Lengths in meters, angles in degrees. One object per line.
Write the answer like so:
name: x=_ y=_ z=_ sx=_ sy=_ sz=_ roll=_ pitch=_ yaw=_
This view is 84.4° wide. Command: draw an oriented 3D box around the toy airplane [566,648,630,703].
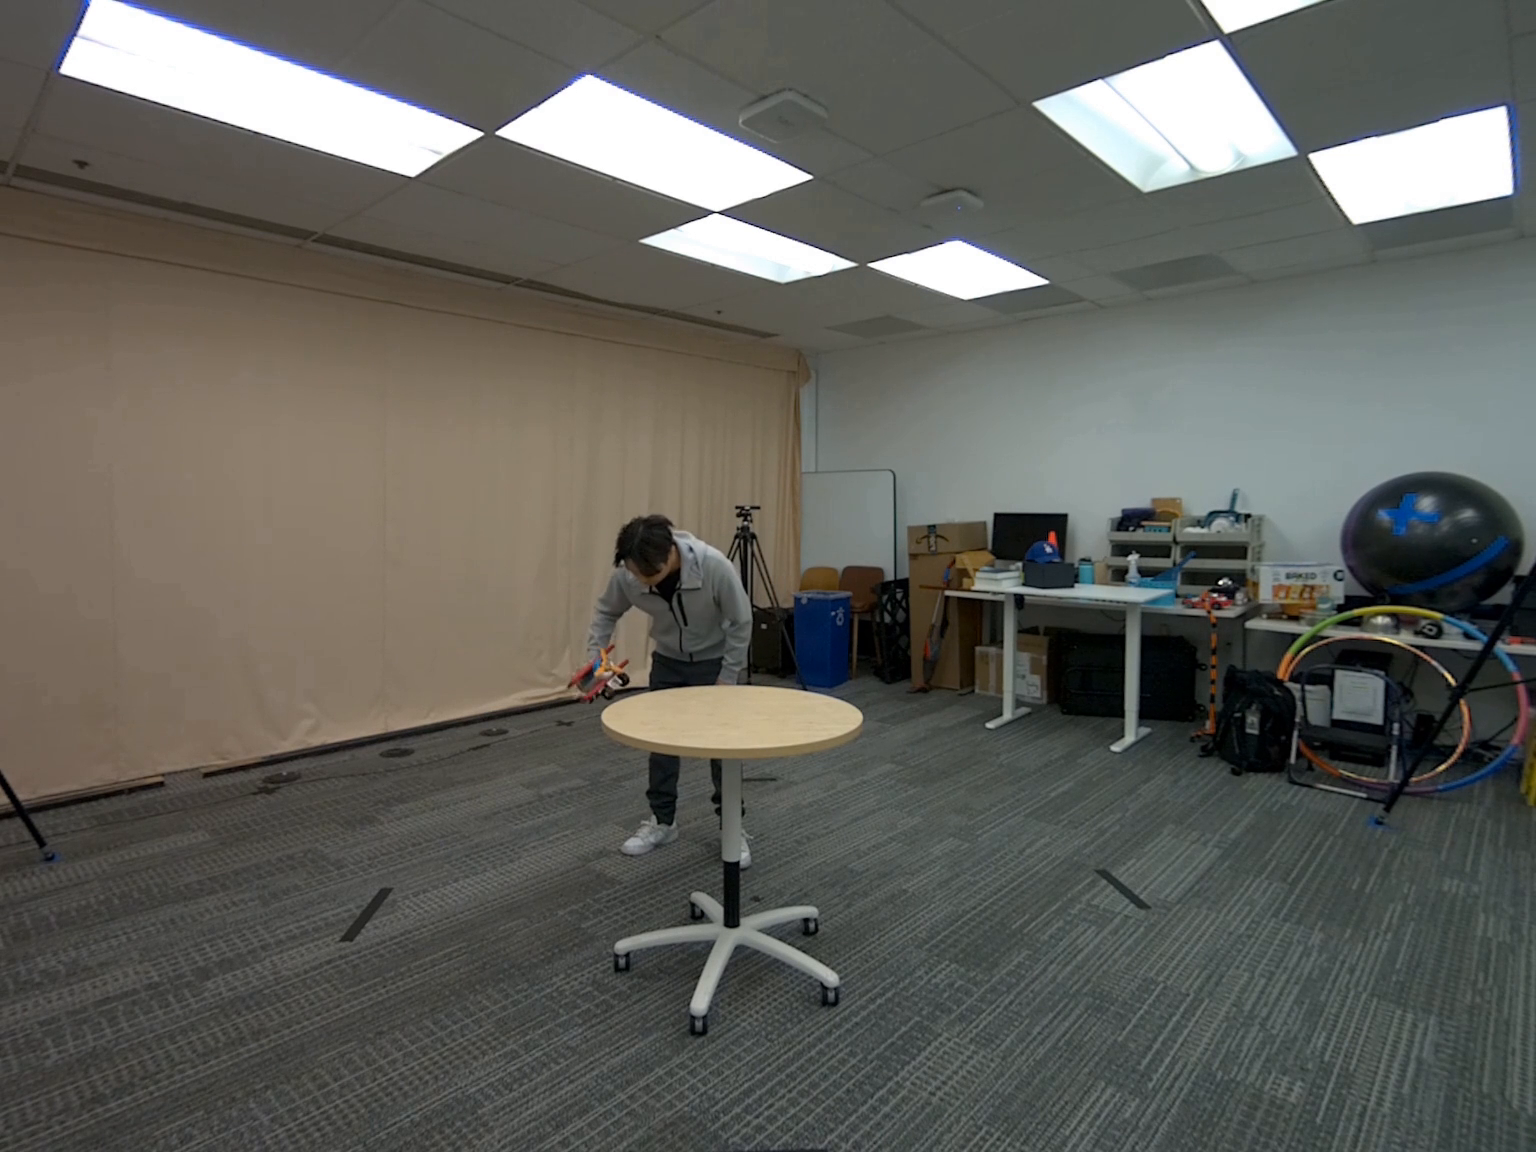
toy airplane: x=-0.663 y=0.403 z=3.212 sx=0.262 sy=0.155 sz=0.251 roll=-31 pitch=12 yaw=18
